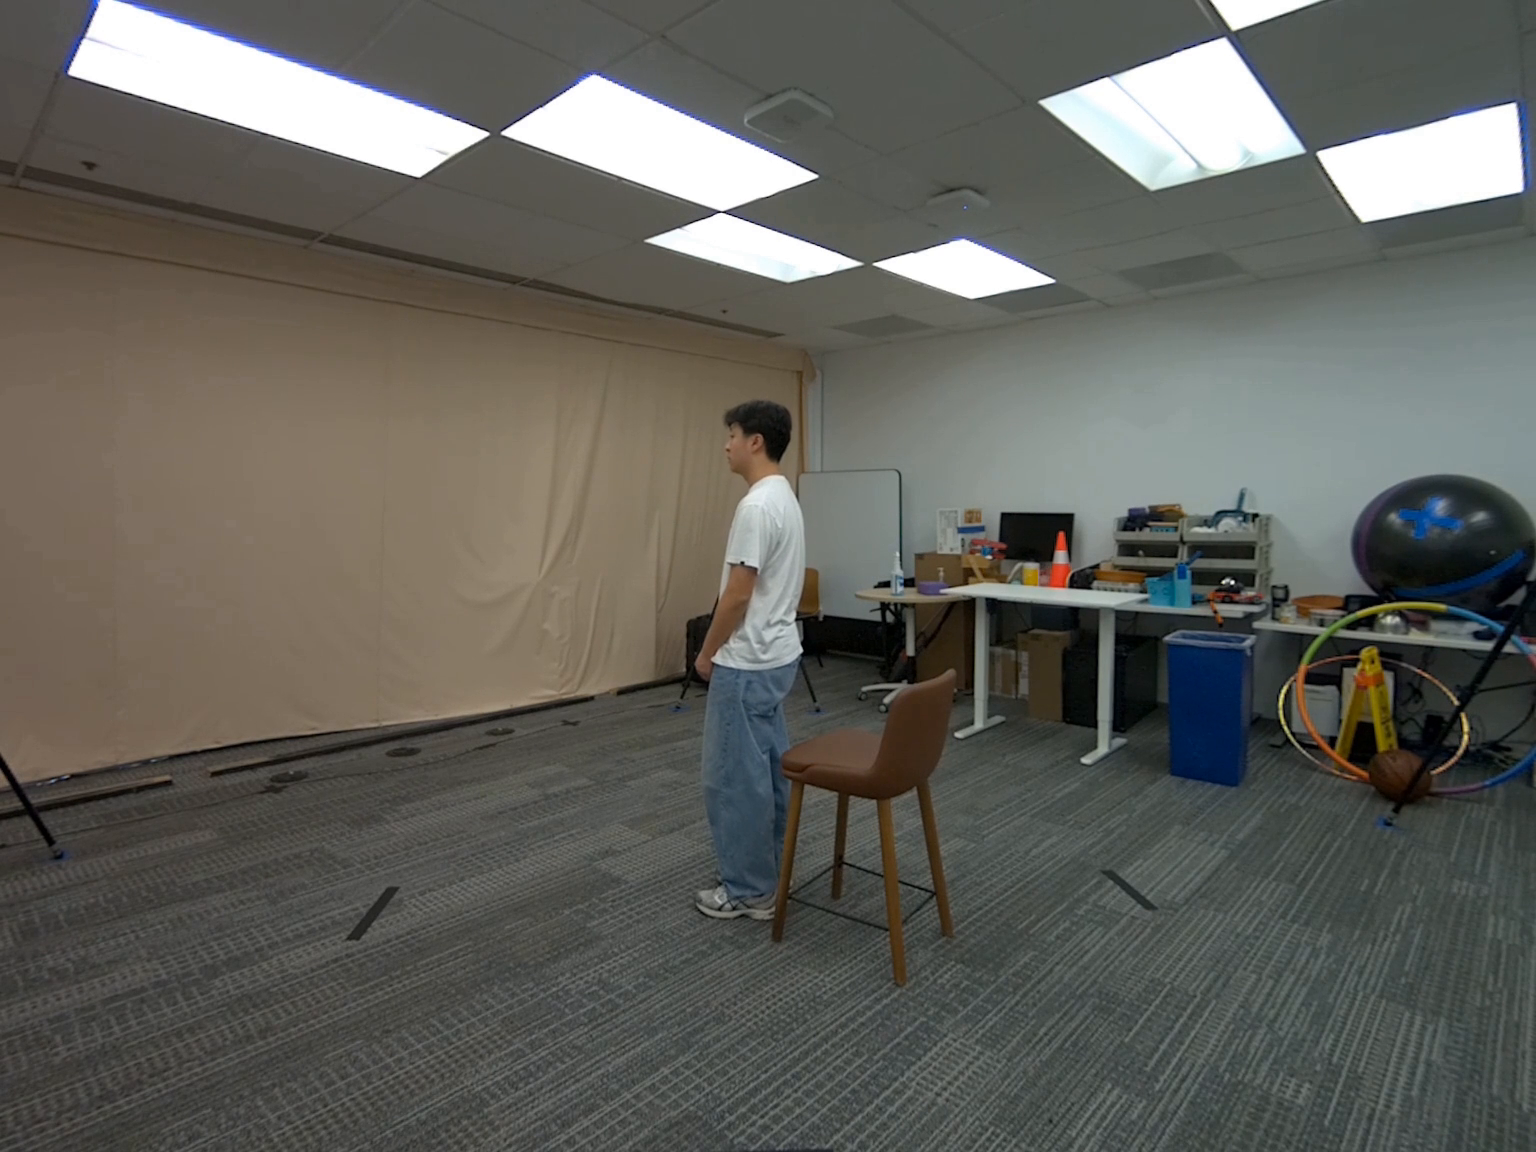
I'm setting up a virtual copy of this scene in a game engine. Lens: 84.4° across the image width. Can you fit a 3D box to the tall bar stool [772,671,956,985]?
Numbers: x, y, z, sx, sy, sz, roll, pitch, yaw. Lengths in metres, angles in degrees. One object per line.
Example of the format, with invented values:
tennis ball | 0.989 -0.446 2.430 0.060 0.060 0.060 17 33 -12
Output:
tall bar stool | 0.312 0.728 2.687 0.483 0.887 0.443 4 6 36
